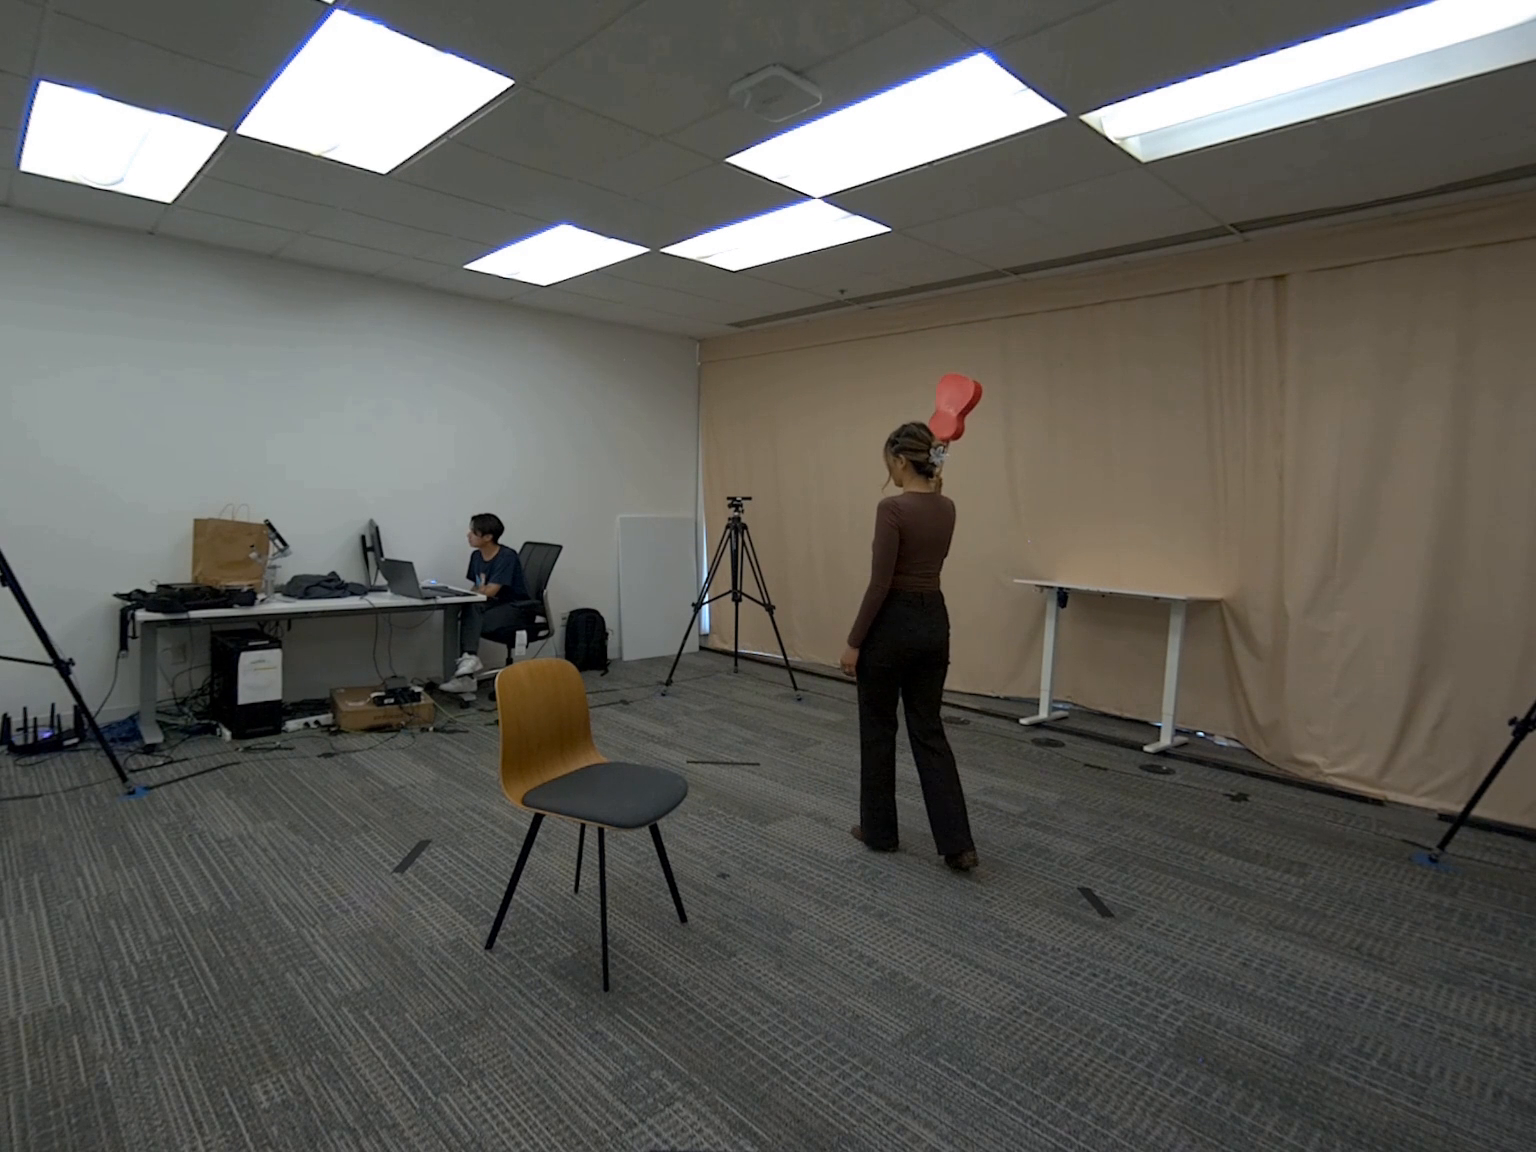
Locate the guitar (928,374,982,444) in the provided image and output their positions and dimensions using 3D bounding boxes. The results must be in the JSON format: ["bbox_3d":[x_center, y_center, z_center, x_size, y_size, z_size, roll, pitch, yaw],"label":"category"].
[{"bbox_3d":[0.732,-0.571,3.447,0.069,0.496,0.198,9,6,-38],"label":"guitar"}]
